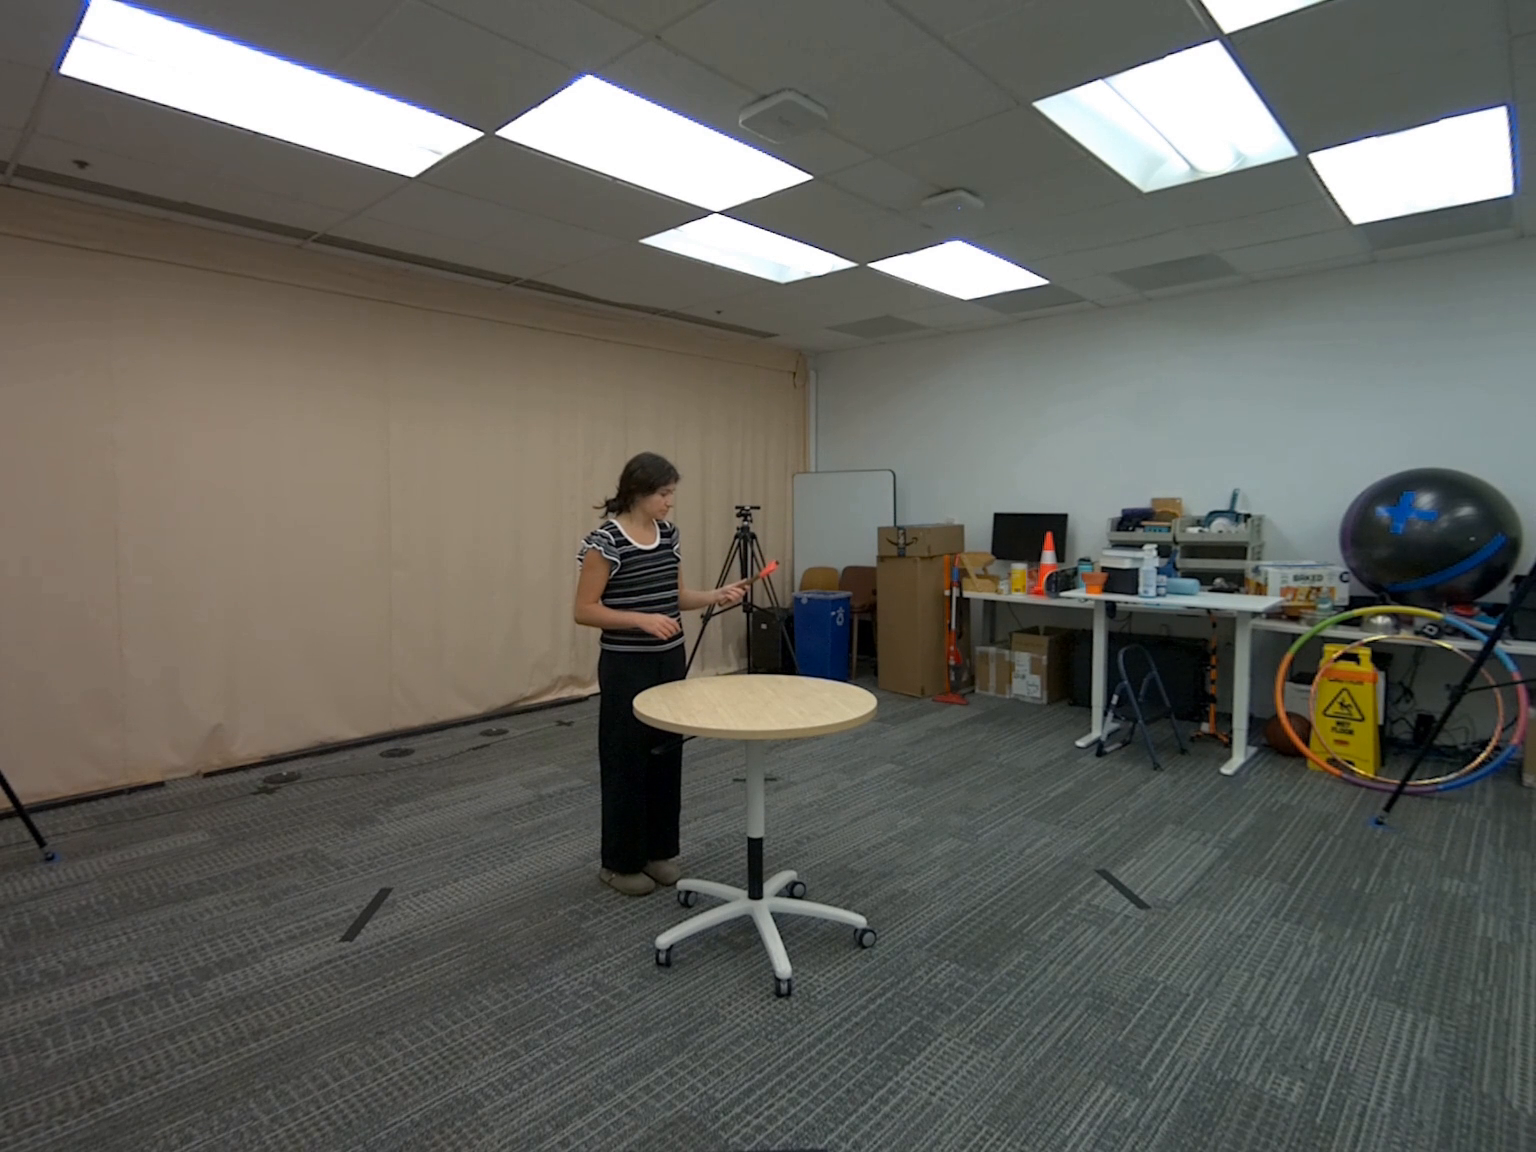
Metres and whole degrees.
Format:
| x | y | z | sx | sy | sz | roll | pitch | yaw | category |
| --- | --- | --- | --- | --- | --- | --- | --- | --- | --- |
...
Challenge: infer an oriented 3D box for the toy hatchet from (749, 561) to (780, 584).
| x | y | z | sx | sy | sz | roll | pitch | yaw | category |
| --- | --- | --- | --- | --- | --- | --- | --- | --- | --- |
| -0.074 | 0.021 | 3.058 | 0.269 | 0.029 | 0.133 | -32 | 11 | -4 | toy hatchet |
